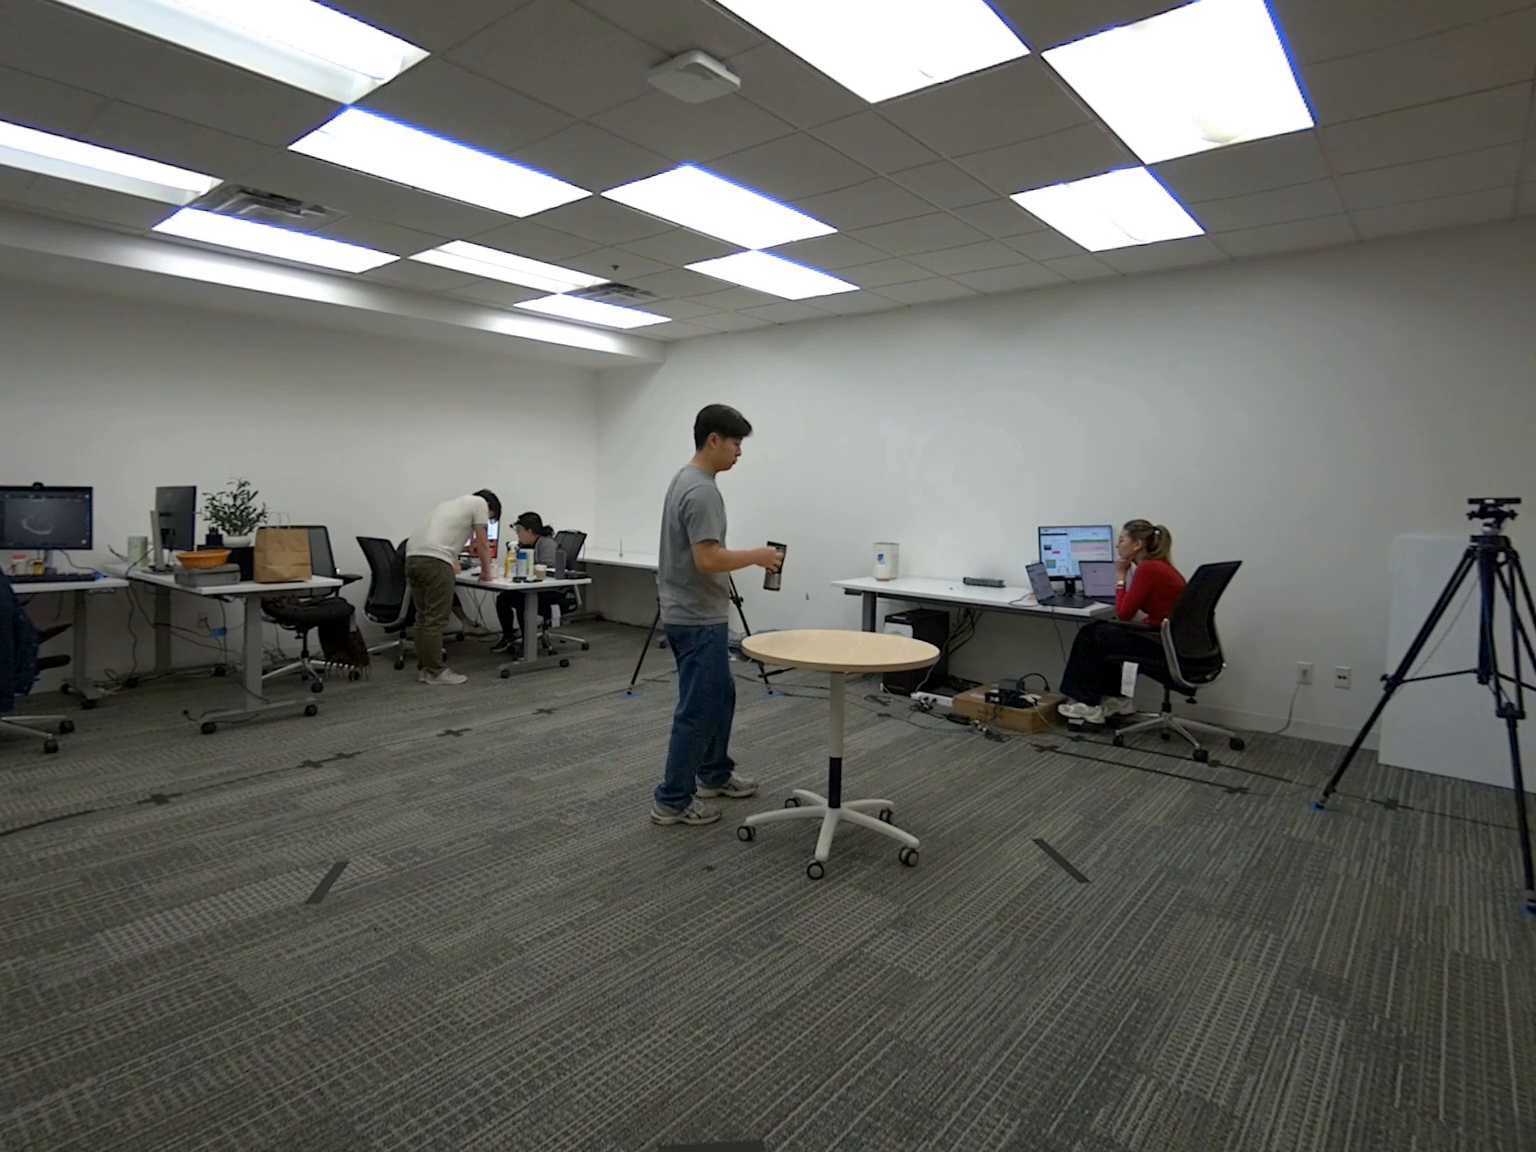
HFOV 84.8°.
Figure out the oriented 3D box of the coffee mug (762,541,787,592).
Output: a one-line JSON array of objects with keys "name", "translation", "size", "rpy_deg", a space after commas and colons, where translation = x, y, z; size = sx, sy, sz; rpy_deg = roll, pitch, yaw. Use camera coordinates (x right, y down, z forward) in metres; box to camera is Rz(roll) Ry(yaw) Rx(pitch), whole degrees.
[{"name": "coffee mug", "translation": [-0.004, -0.043, 3.598], "size": [0.120, 0.202, 0.089], "rpy_deg": [9, 3, -13]}]
